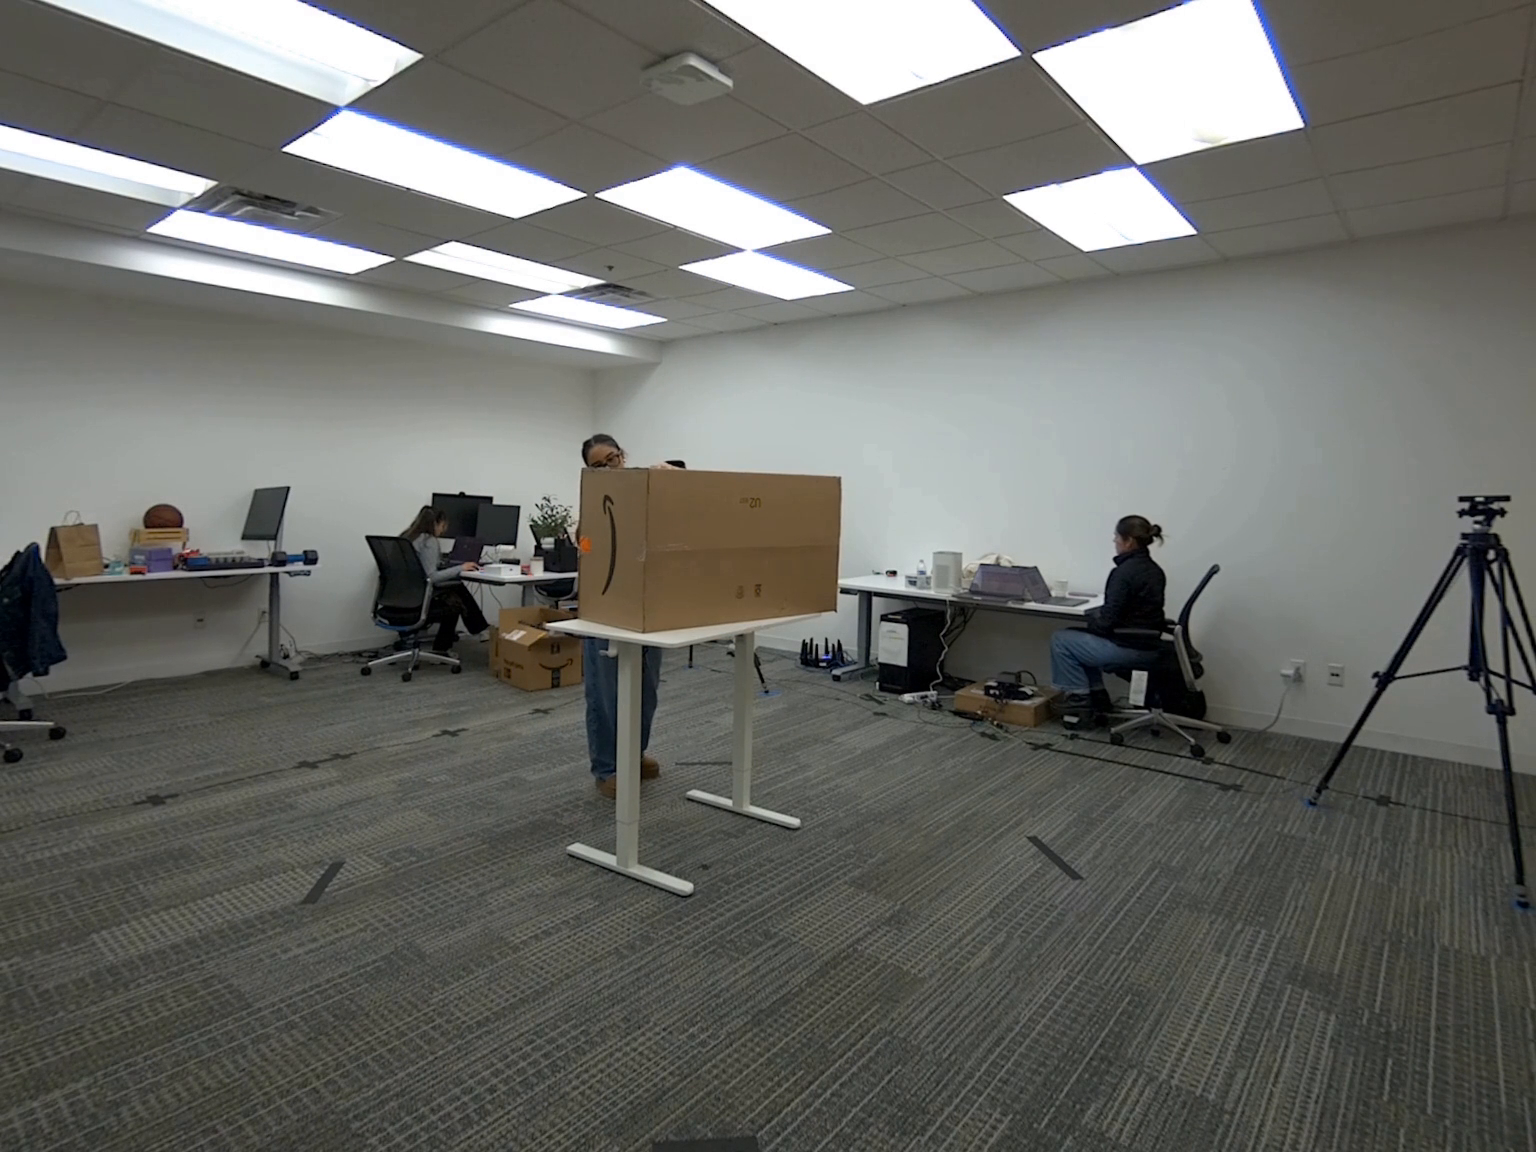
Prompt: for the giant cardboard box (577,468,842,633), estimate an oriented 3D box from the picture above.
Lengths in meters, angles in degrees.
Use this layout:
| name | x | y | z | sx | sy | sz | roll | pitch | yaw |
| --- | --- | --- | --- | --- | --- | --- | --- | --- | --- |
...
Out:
| name | x | y | z | sx | sy | sz | roll | pitch | yaw |
| --- | --- | --- | --- | --- | --- | --- | --- | --- | --- |
| giant cardboard box | -0.220 | -0.126 | 3.408 | 0.995 | 0.575 | 0.441 | -4 | 7 | -43 |
